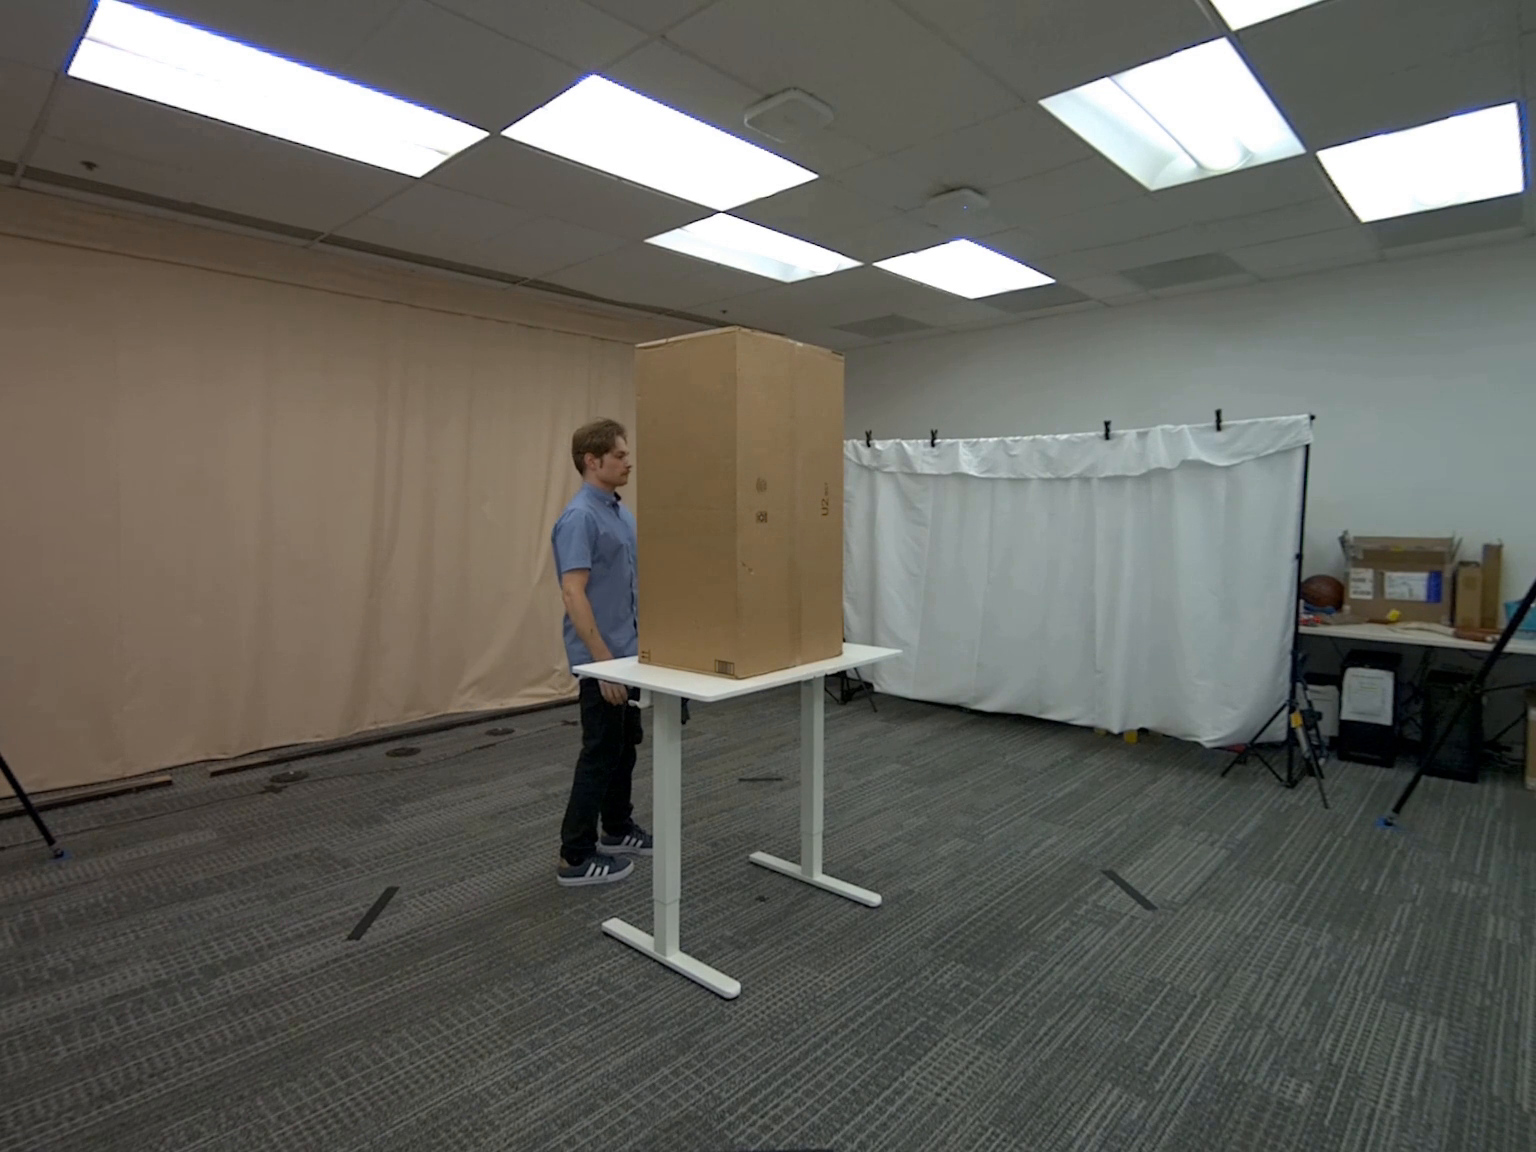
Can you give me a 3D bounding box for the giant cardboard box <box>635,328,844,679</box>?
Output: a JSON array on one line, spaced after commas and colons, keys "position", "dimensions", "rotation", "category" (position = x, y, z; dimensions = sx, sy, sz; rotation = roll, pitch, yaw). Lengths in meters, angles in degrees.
[{"position": [-0.083, -0.228, 2.774], "dimensions": [0.440, 1.024, 0.560], "rotation": [3, 4, 40], "category": "giant cardboard box"}]
